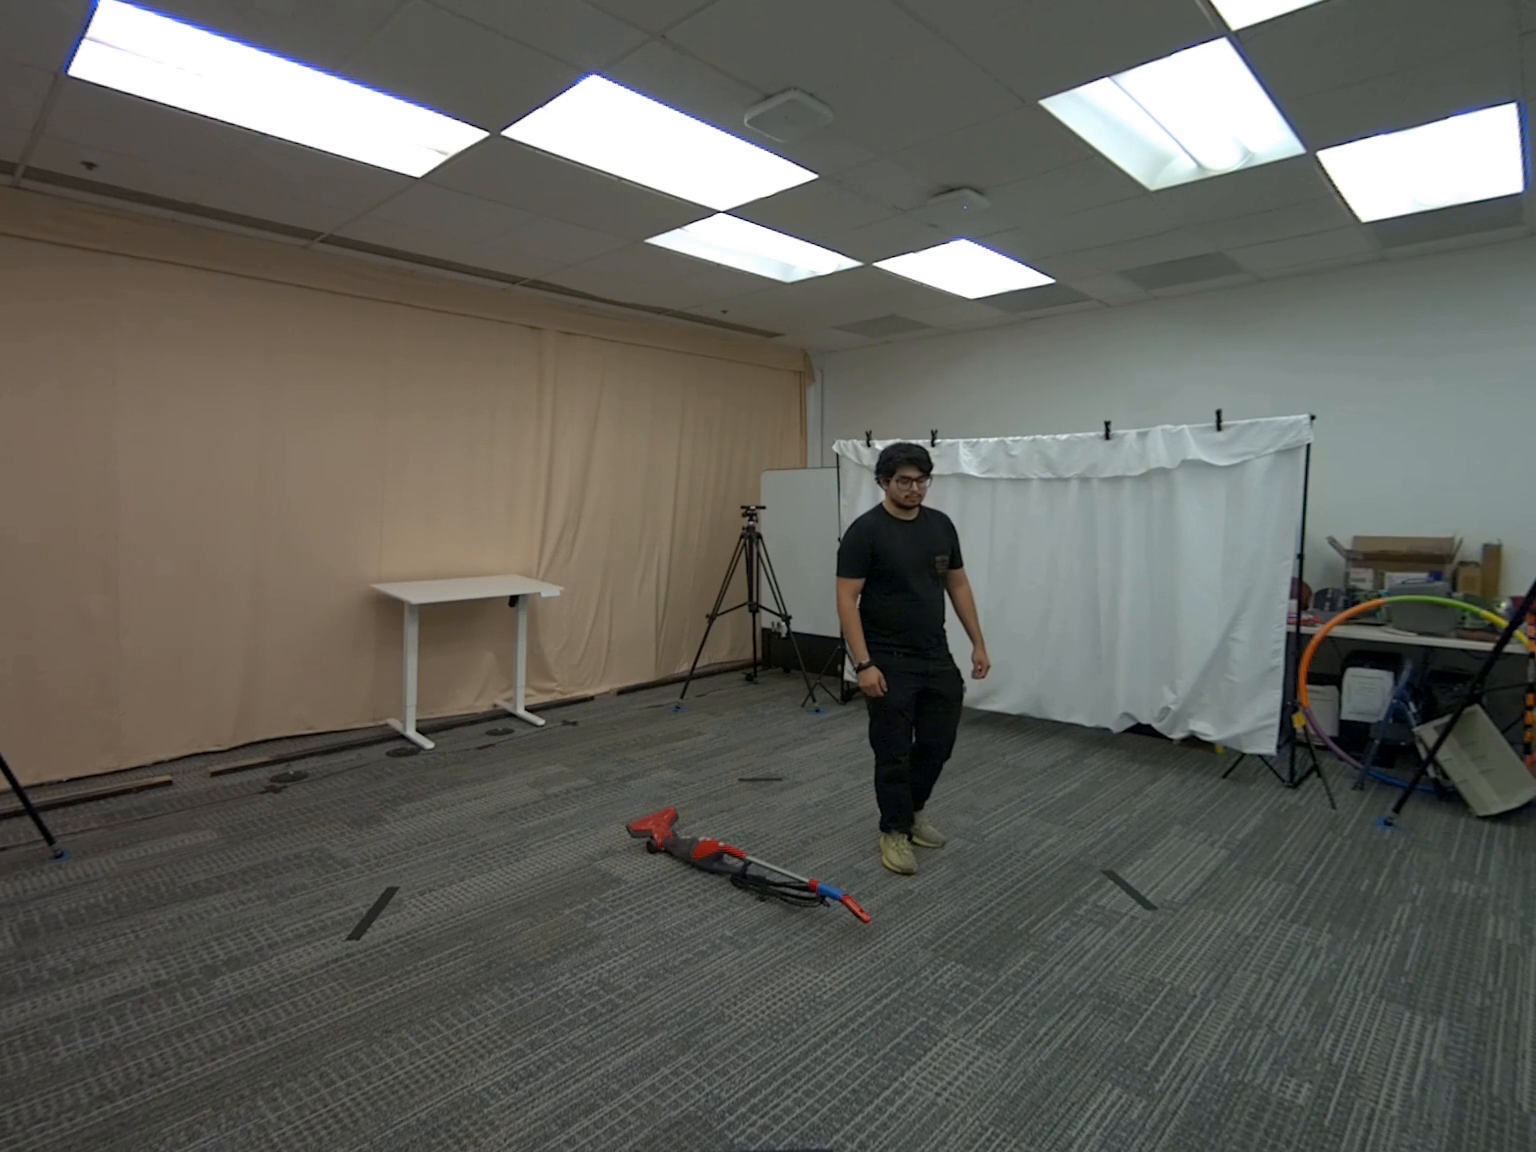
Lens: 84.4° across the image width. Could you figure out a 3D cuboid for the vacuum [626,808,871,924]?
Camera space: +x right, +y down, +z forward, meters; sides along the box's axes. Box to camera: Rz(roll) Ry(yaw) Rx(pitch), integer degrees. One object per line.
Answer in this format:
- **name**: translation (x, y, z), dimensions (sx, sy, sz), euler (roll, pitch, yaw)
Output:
- **vacuum**: translation (-0.071, 1.077, 3.072), dimensions (1.085, 0.143, 0.245), euler (5, 8, 44)
